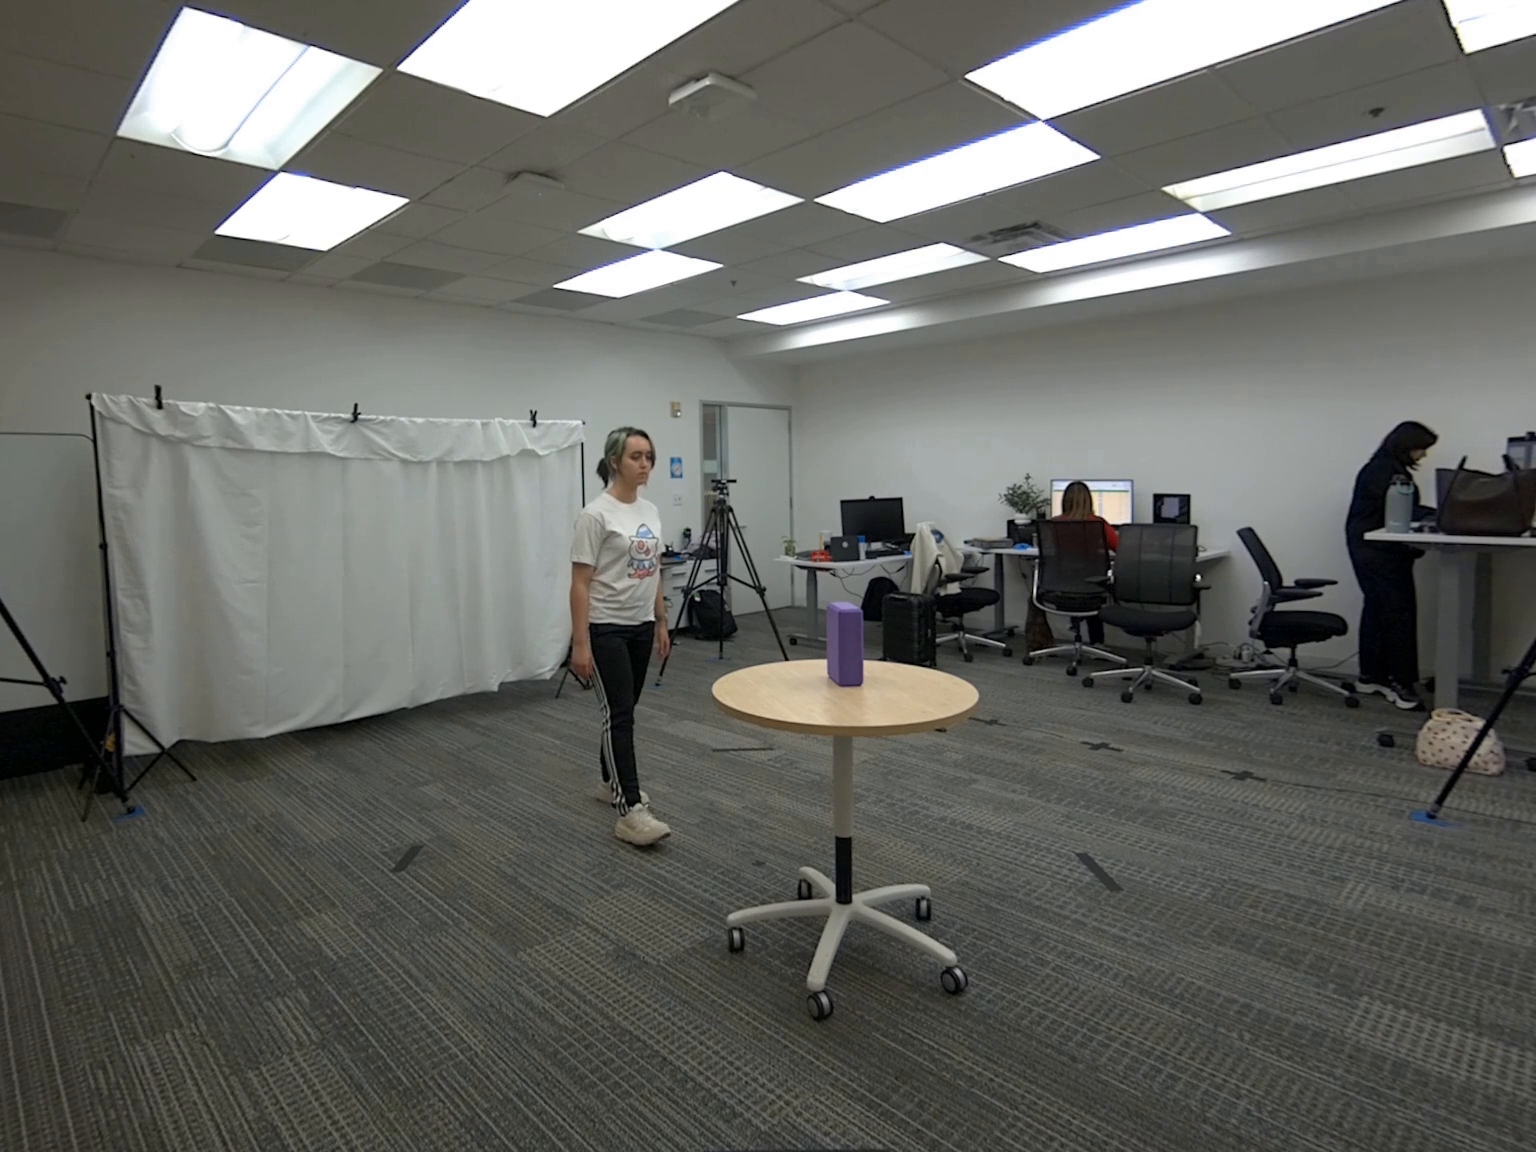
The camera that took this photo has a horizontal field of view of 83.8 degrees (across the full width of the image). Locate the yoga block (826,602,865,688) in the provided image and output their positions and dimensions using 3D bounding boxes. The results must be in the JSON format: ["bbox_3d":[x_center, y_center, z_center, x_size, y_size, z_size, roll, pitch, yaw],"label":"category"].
[{"bbox_3d":[0.236,0.207,2.567,0.076,0.228,0.151,-1,8,-5],"label":"yoga block"}]
